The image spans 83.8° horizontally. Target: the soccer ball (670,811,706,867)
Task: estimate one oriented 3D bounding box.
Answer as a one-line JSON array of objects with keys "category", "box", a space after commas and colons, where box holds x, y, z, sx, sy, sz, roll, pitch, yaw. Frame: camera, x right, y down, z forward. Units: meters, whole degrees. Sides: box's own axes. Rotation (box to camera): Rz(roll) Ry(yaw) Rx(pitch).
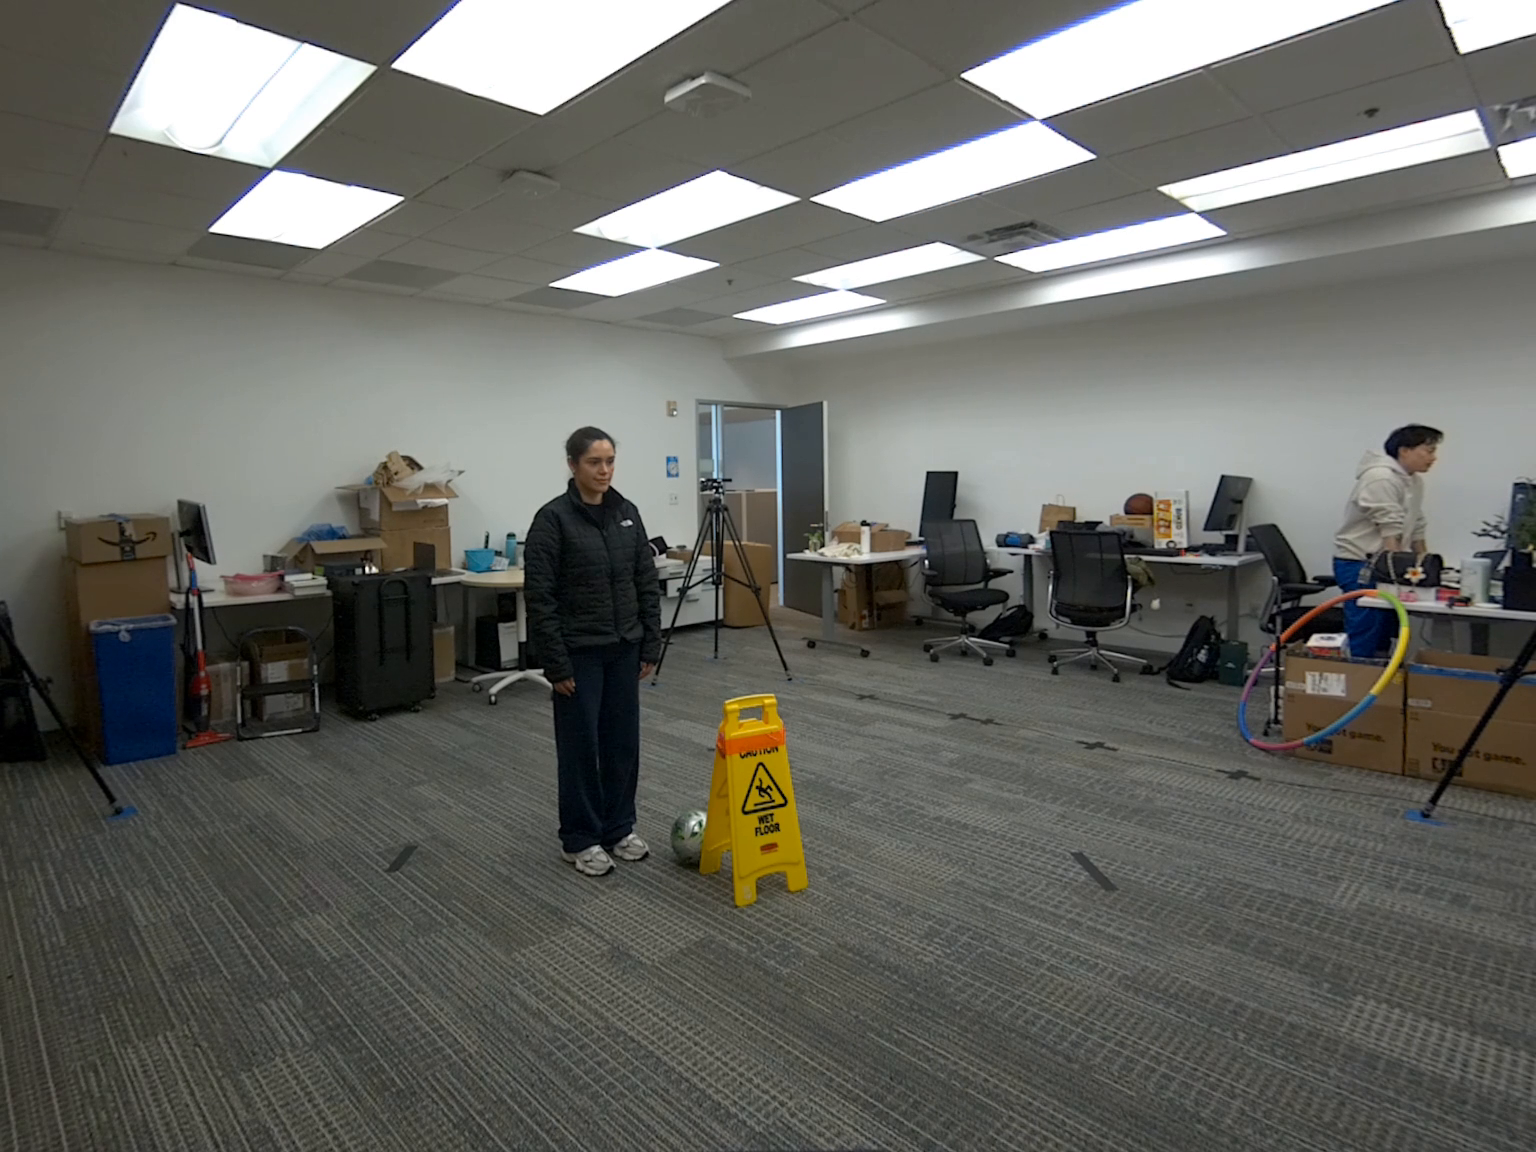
[{"category": "soccer ball", "box": [-0.270, 0.944, 3.119, 0.187, 0.187, 0.188, -1, 5, -2]}]
